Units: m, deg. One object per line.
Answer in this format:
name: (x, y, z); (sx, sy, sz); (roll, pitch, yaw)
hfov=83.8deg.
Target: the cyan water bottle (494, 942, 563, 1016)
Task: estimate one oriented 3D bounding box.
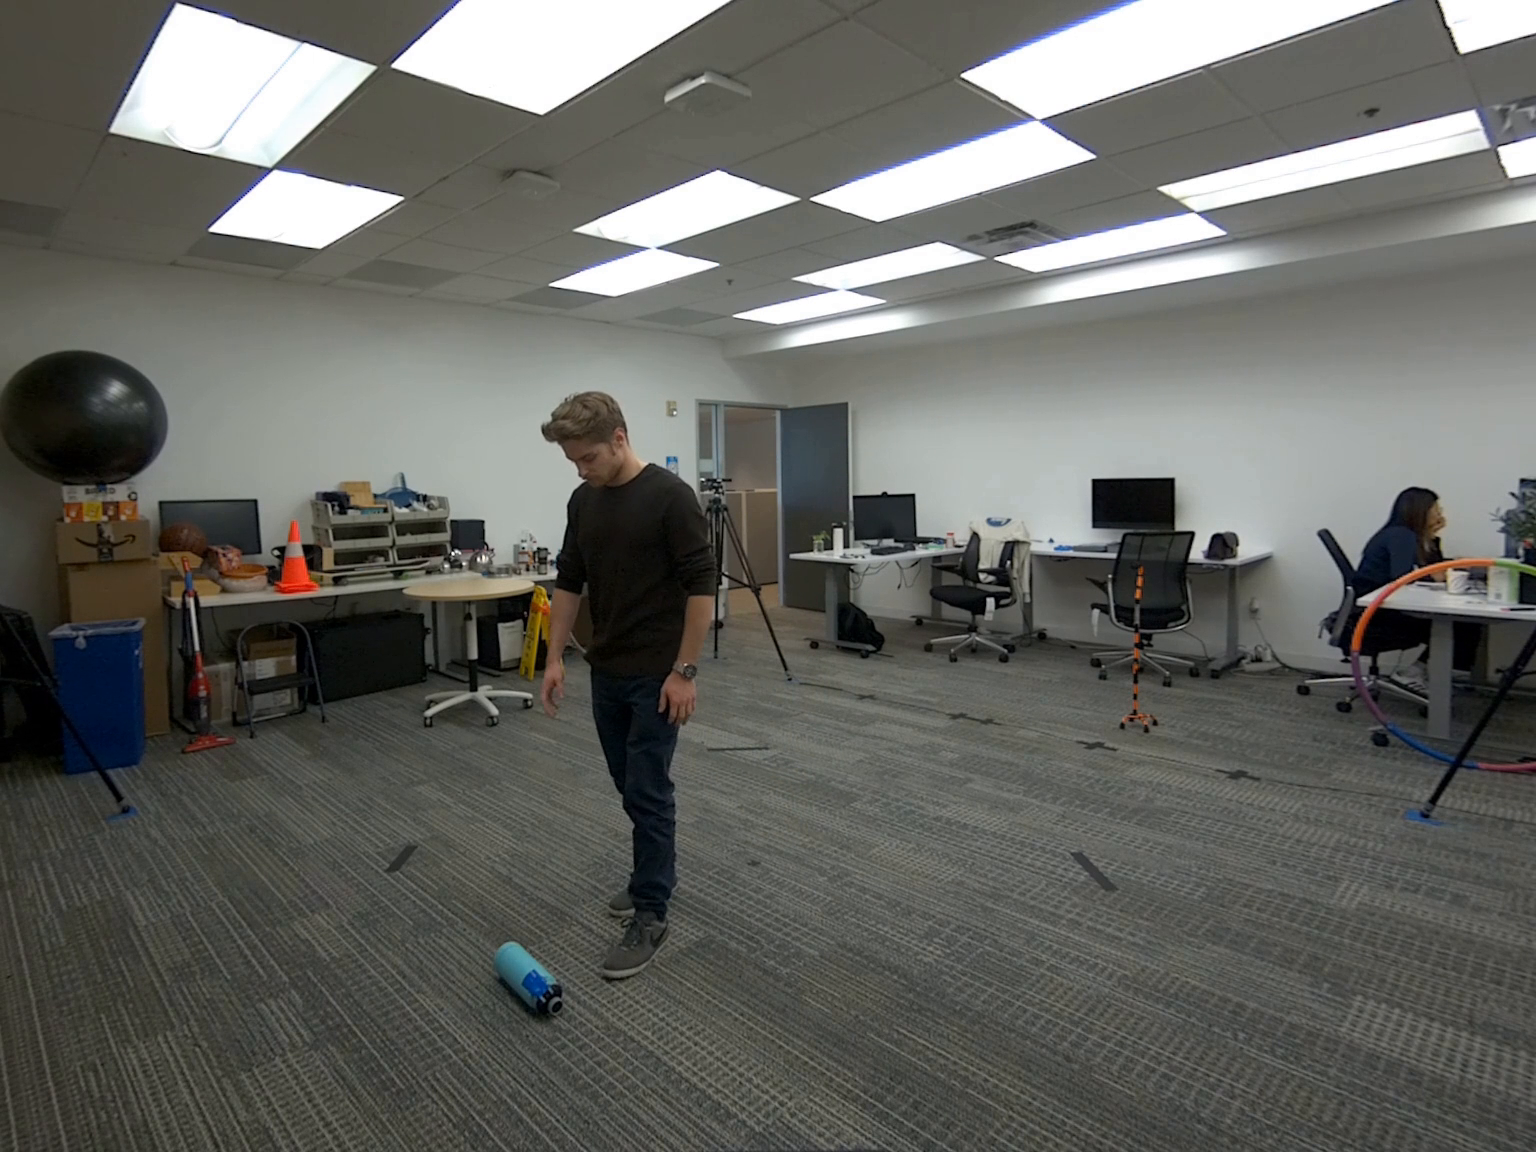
cyan water bottle: (-0.648, 1.101, 2.332); (0.090, 0.092, 0.292); (-5, 7, -39)
